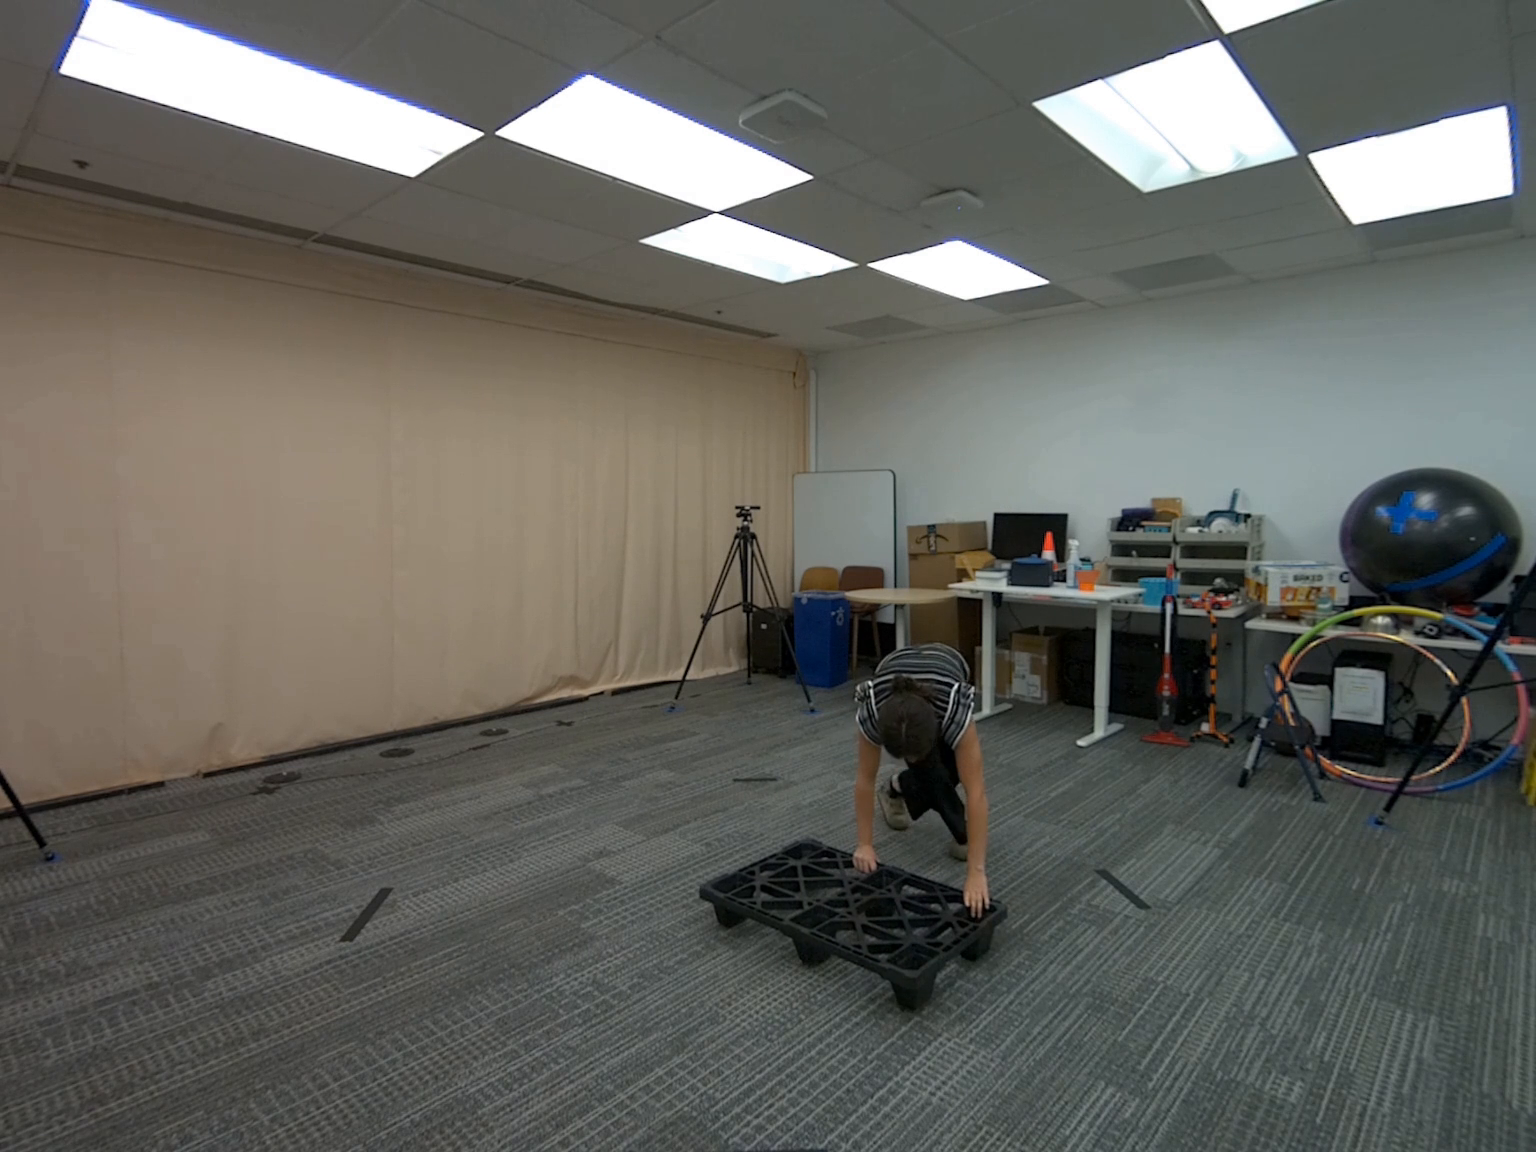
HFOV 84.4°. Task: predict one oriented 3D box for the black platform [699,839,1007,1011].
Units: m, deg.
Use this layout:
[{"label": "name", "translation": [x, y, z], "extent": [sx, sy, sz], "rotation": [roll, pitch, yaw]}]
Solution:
[{"label": "black platform", "translation": [0.265, 1.096, 2.709], "extent": [0.832, 0.143, 0.587], "rotation": [4, 6, 41]}]
